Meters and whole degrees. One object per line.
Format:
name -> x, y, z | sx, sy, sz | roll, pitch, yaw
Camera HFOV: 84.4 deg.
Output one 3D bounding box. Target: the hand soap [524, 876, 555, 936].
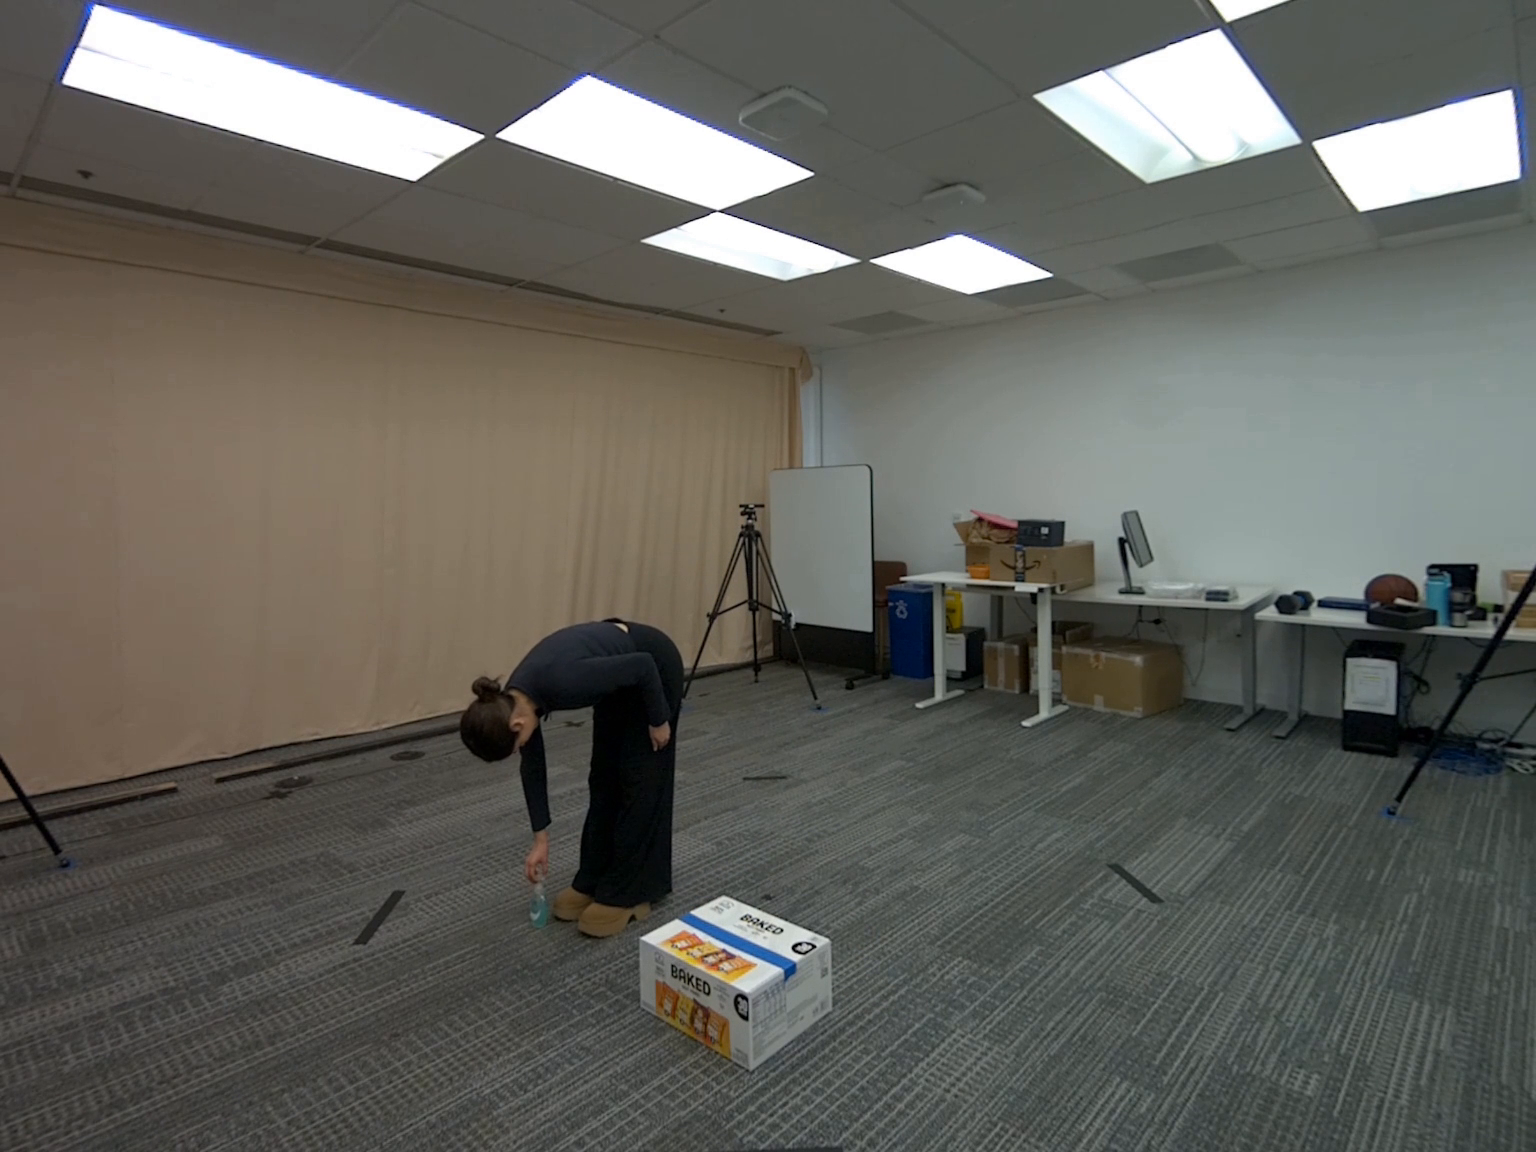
hand soap -> -0.763, 1.093, 2.824 | 0.087, 0.168, 0.042 | 5, 2, 33
